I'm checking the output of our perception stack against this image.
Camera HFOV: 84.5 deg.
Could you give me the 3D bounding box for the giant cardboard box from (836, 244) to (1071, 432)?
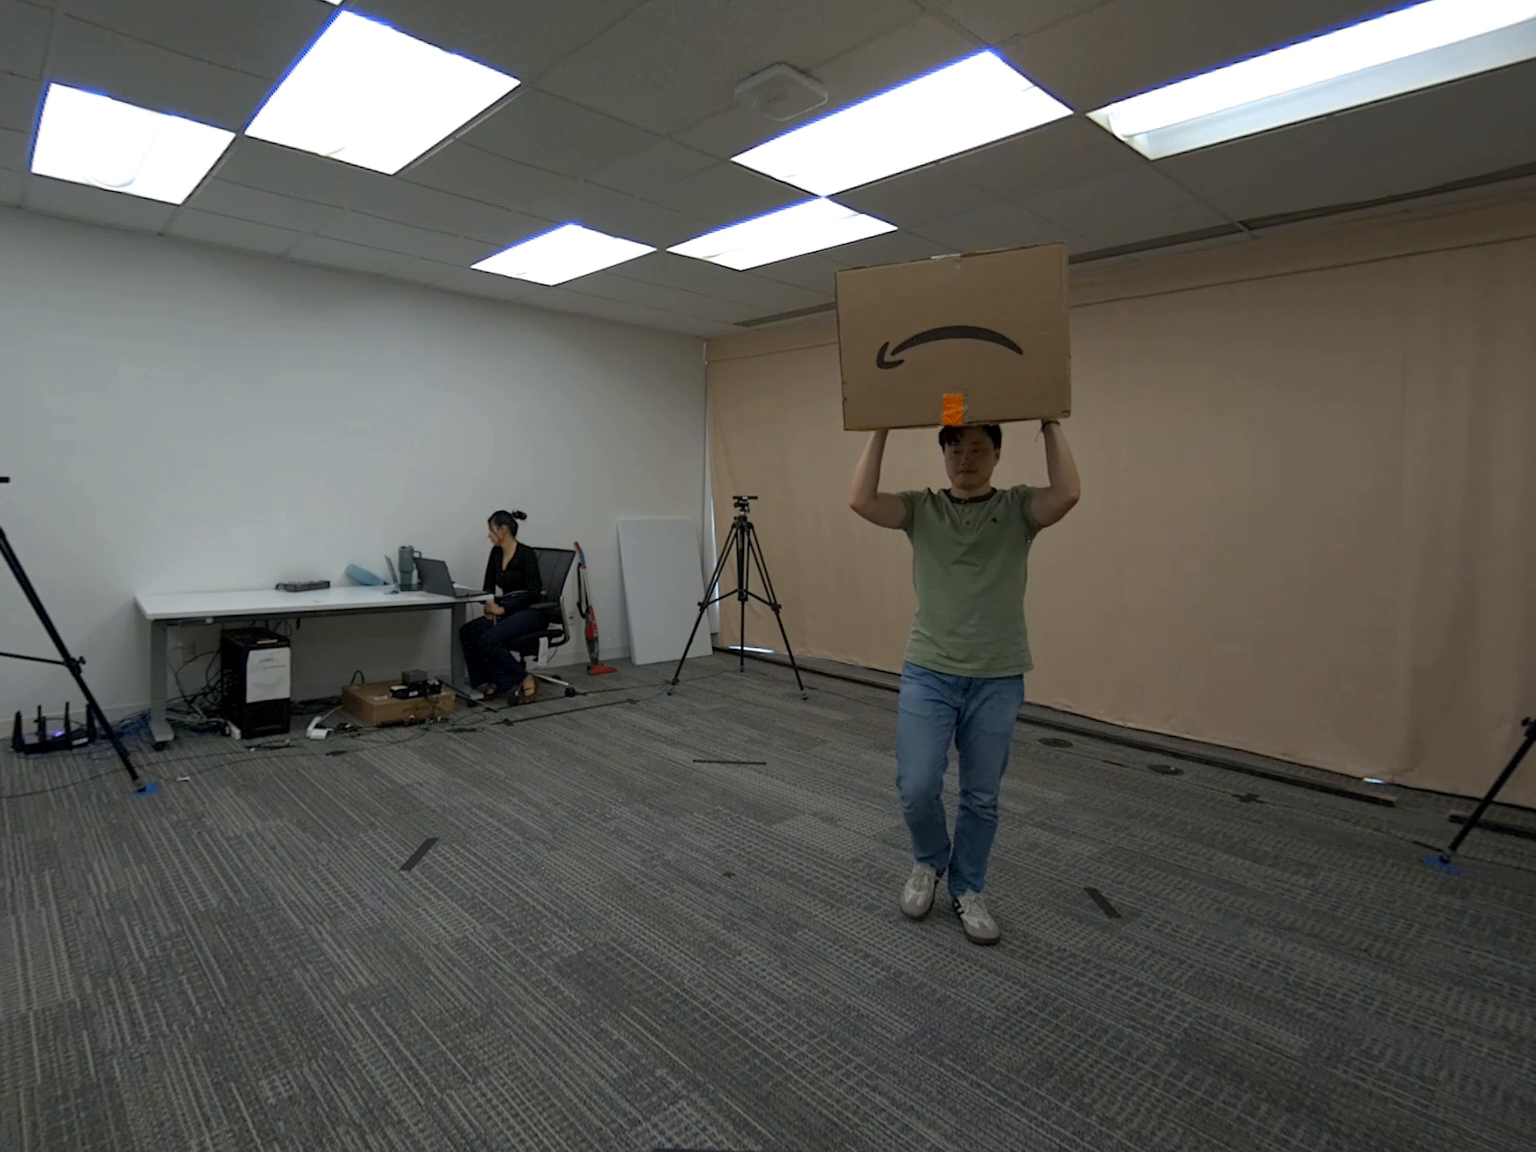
[{"bbox_3d":[0.594,-0.731,2.622,0.586,0.421,1.022,-1,15,18],"label":"giant cardboard box"}]
